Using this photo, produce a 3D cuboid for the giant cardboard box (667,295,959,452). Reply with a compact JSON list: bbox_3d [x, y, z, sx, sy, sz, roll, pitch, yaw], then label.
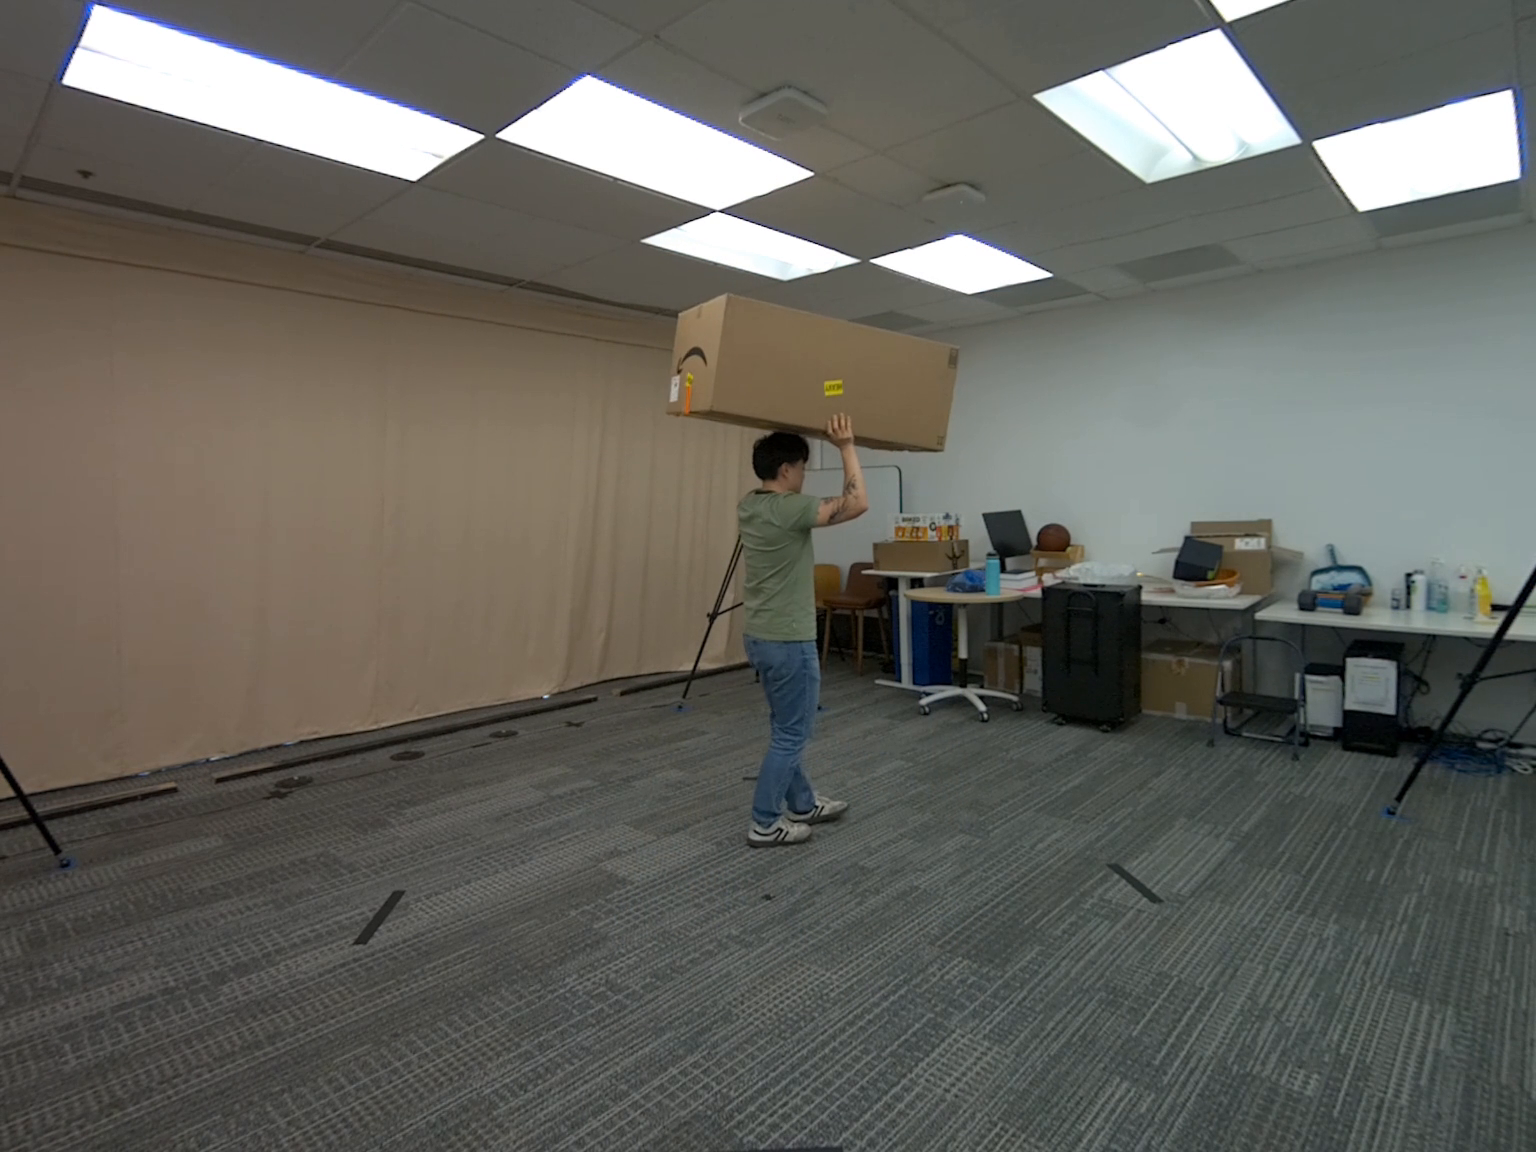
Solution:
[{"bbox_3d":[0.171,-0.795,3.468,1.002,0.425,0.592,6,6,-22],"label":"giant cardboard box"}]
